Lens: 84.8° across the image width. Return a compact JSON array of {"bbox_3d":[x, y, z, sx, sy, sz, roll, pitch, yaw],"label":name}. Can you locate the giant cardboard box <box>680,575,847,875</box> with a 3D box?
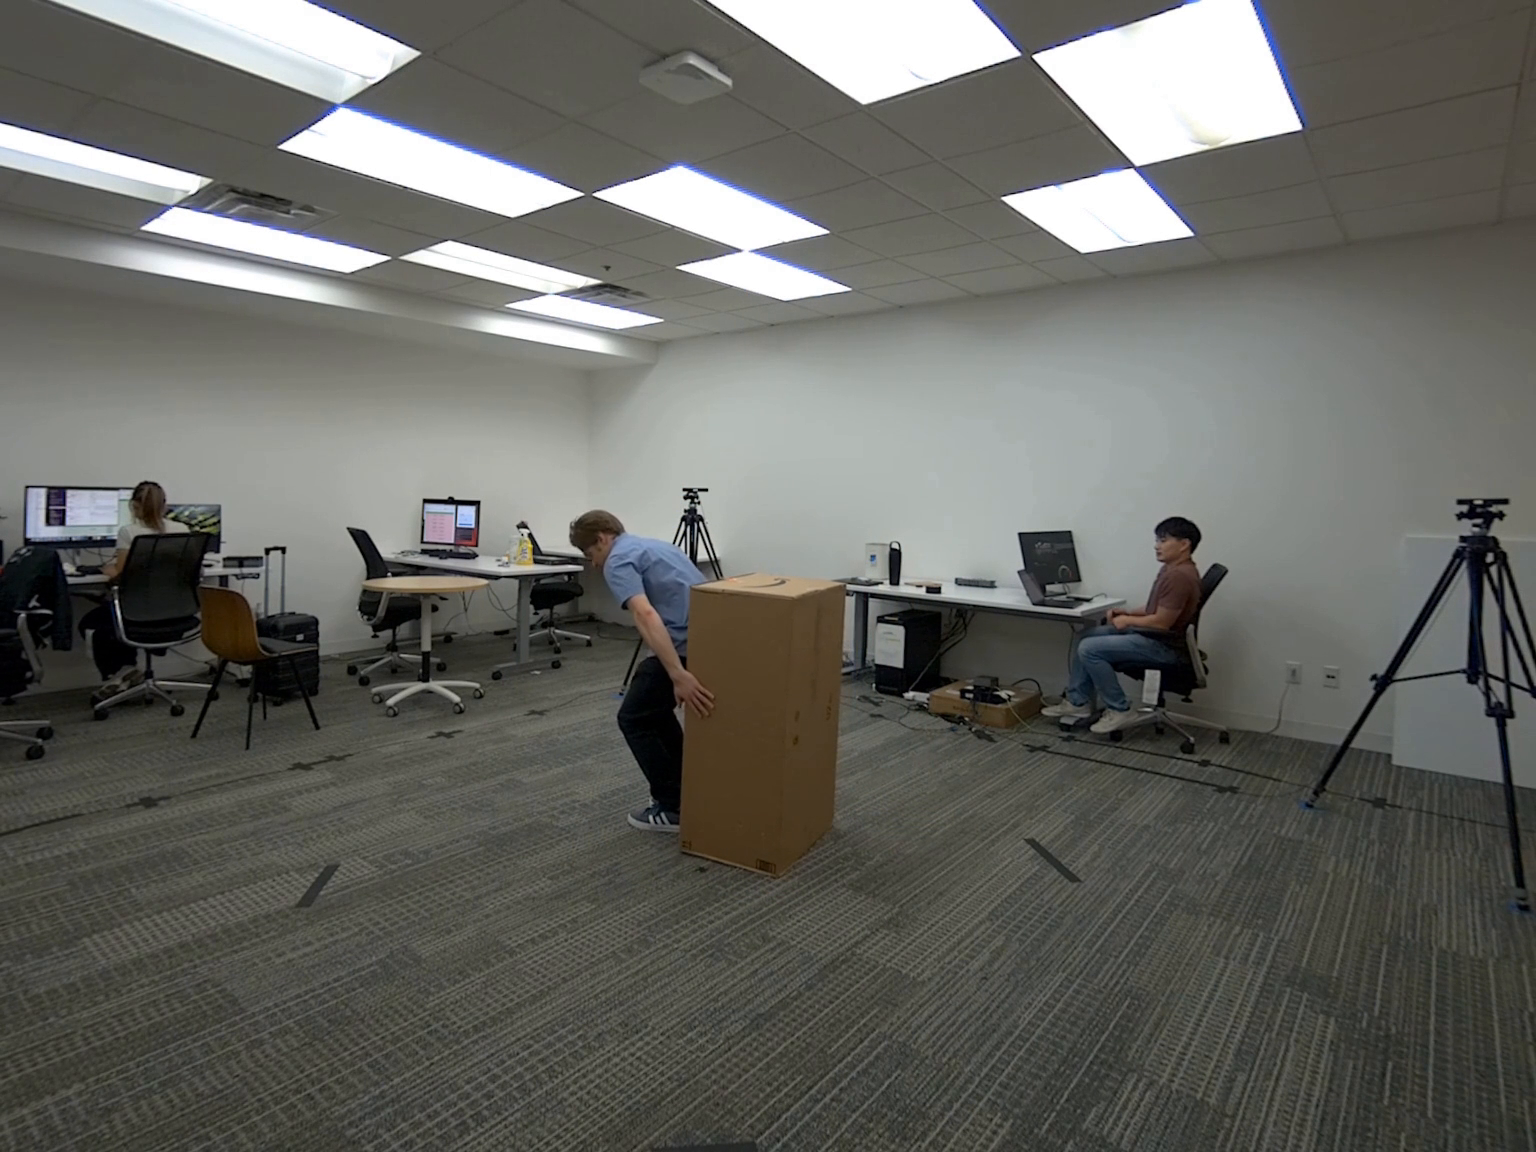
[{"bbox_3d":[-0.017,0.540,3.359,0.459,1.023,0.571,5,5,25],"label":"giant cardboard box"}]
